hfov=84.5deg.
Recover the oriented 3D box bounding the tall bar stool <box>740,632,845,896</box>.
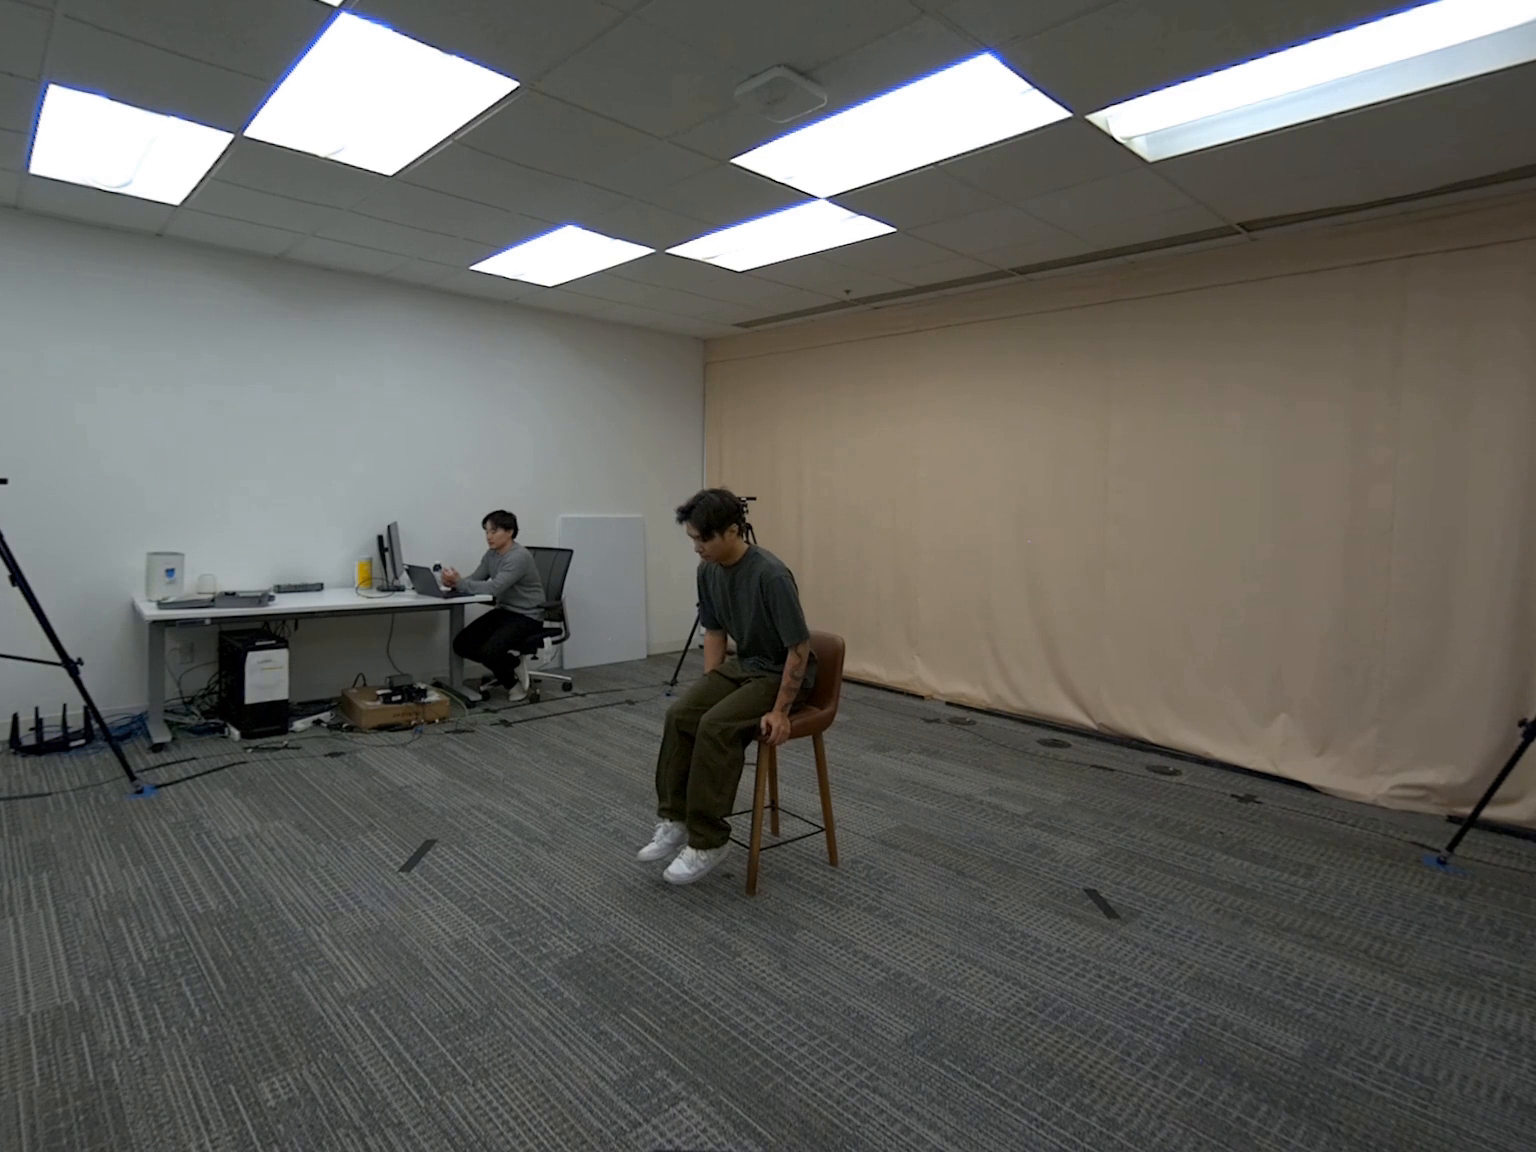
[{"bbox_3d":[-0.004,0.662,3.219,0.456,0.888,0.468,1,2,-40],"label":"tall bar stool"}]
